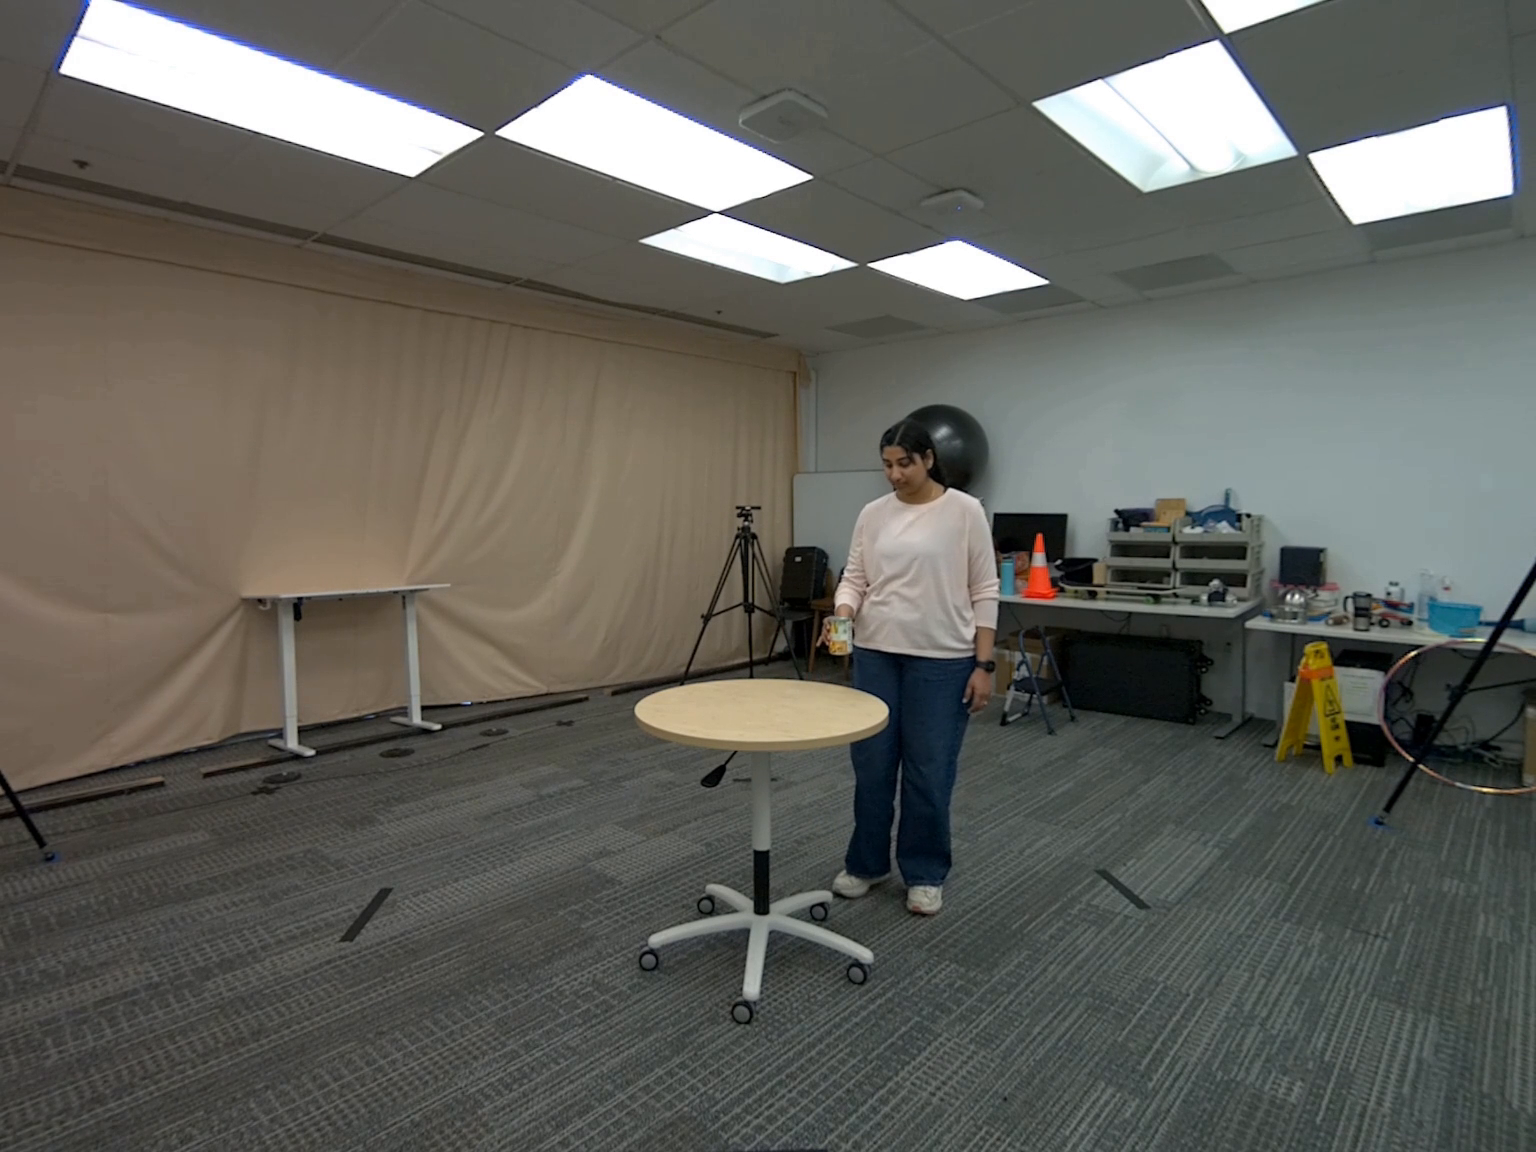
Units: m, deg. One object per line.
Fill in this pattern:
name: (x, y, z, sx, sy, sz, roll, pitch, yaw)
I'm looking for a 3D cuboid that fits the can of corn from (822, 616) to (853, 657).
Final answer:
can of corn: (0.233, 0.197, 2.736, 0.074, 0.111, 0.074, 0, 4, -2)
